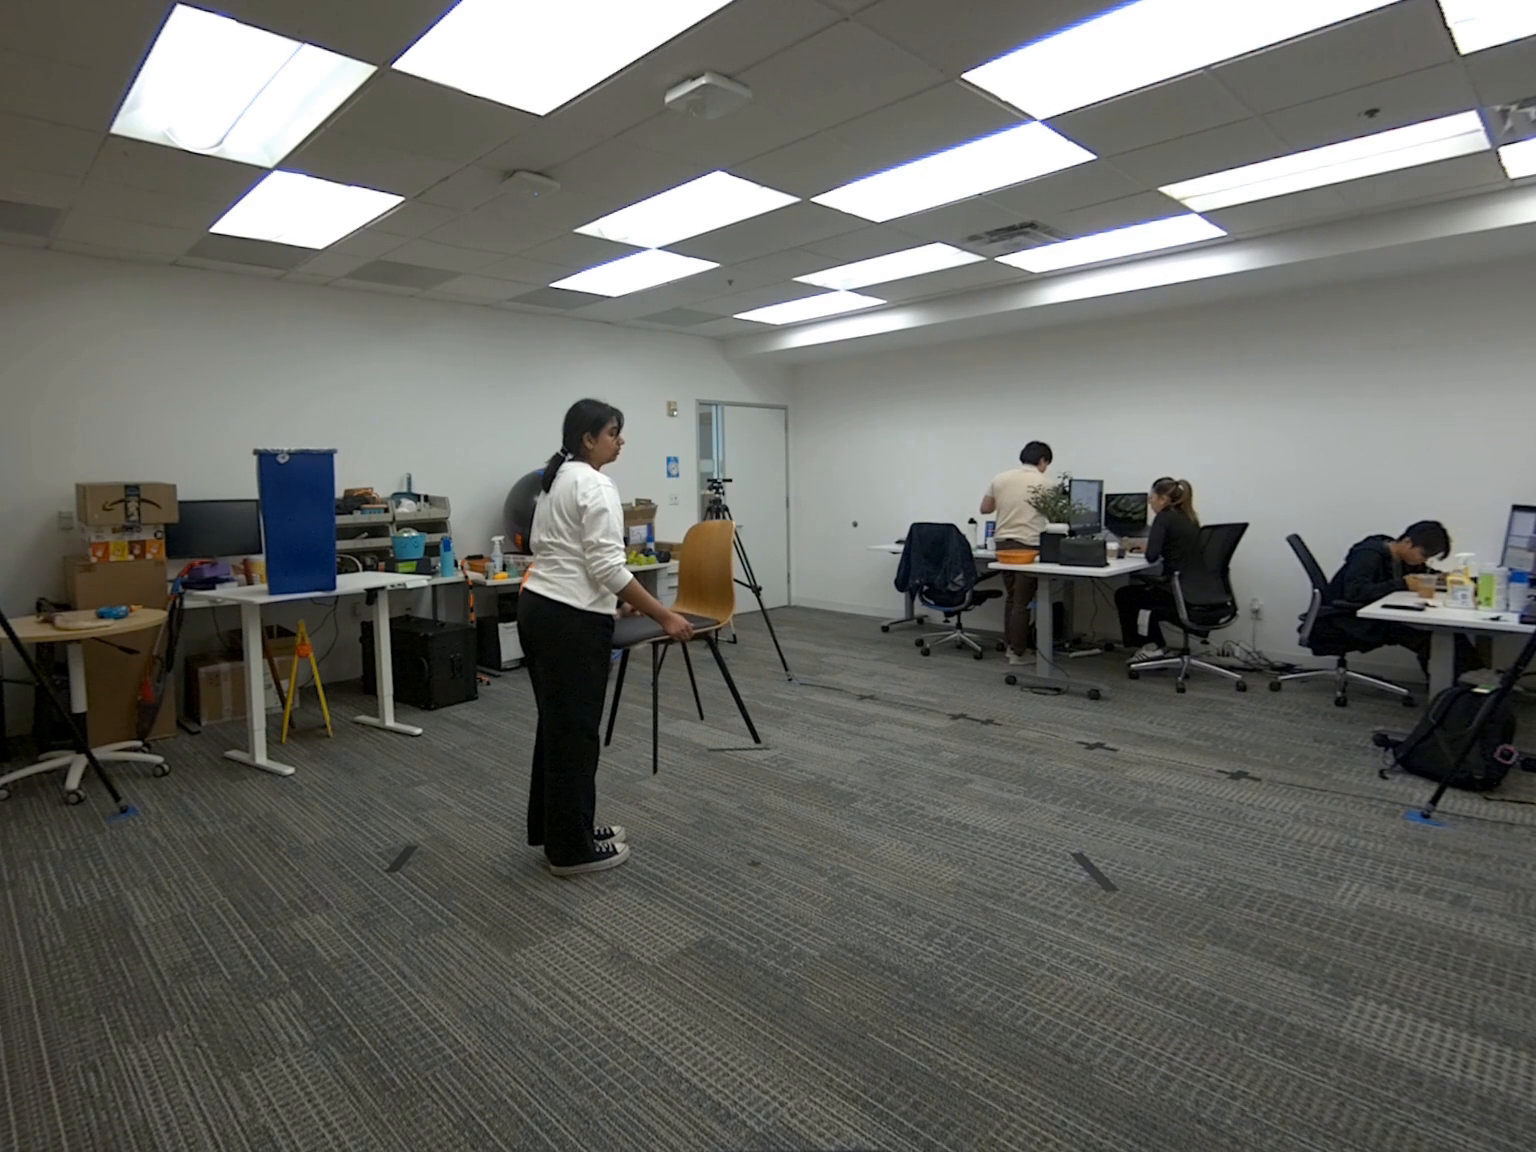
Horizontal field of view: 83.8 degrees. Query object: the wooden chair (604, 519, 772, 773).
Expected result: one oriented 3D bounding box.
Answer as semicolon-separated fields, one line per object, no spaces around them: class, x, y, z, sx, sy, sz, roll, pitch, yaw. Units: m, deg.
wooden chair;-0.379;0.235;3.268;0.510;0.875;0.491;-4;4;-32
